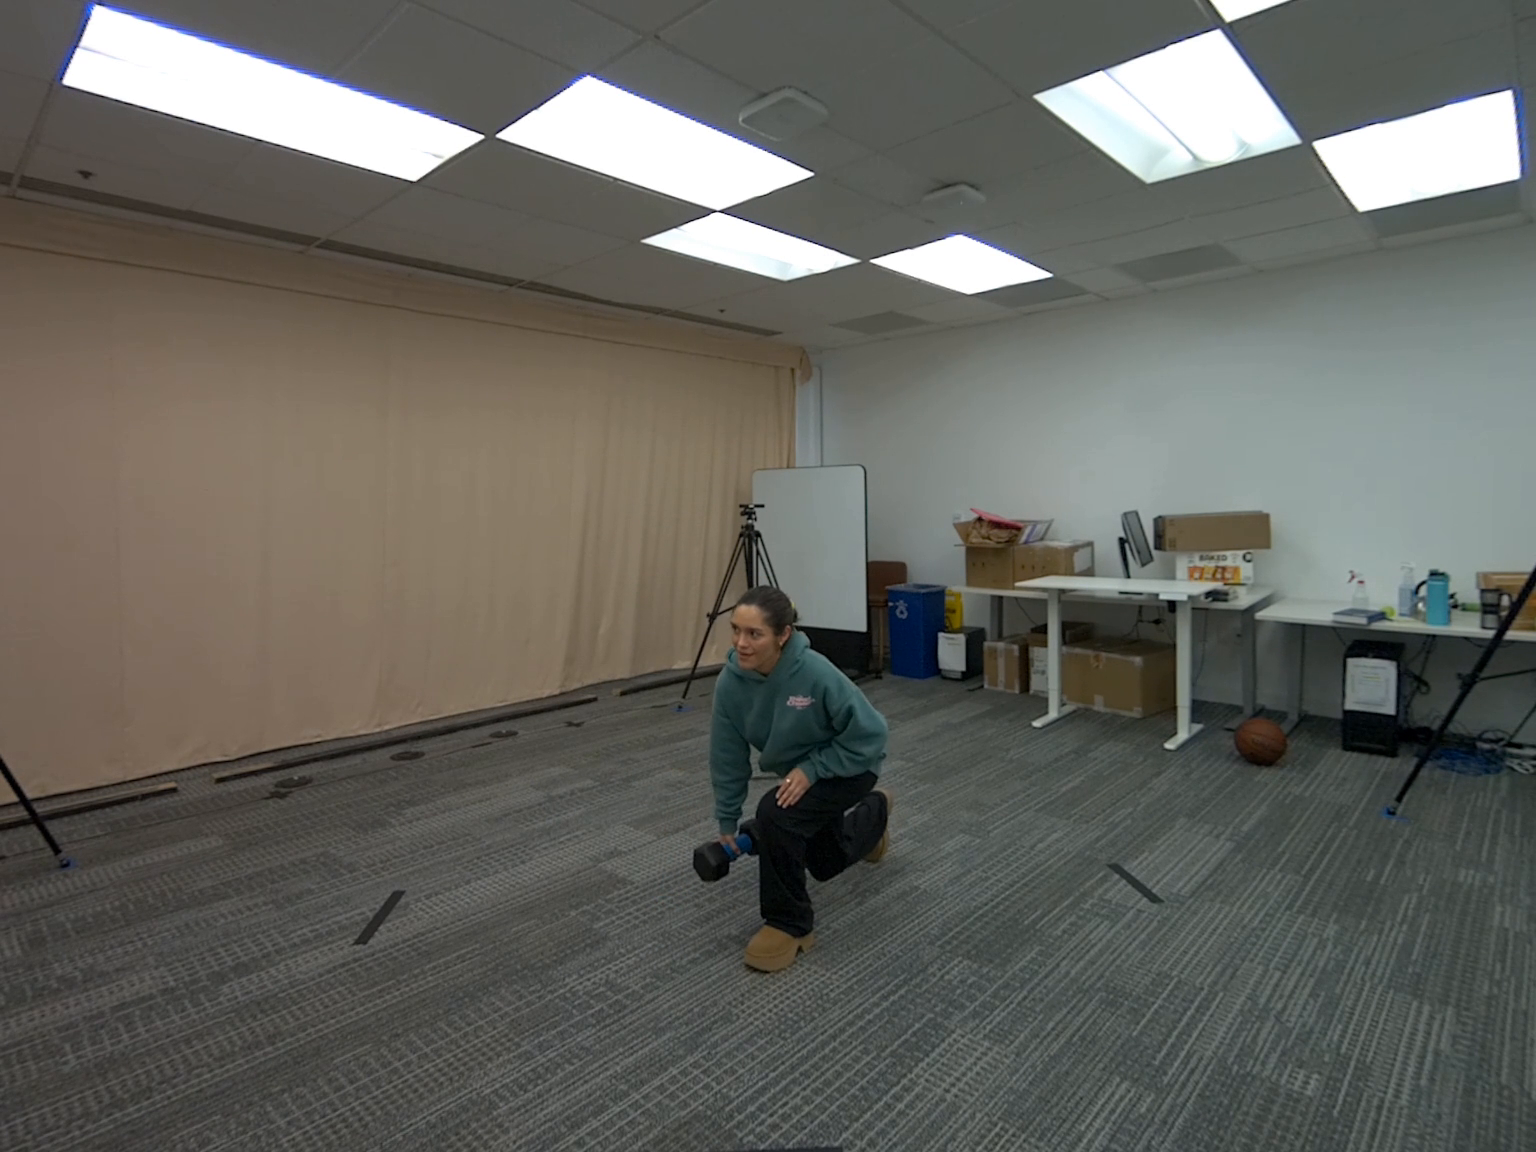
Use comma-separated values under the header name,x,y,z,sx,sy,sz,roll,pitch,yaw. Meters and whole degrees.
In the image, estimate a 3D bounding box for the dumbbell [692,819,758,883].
name,x,y,z,sx,sy,sz,roll,pitch,yaw
dumbbell,-0.109,0.899,2.772,0.285,0.108,0.126,-13,51,-45
